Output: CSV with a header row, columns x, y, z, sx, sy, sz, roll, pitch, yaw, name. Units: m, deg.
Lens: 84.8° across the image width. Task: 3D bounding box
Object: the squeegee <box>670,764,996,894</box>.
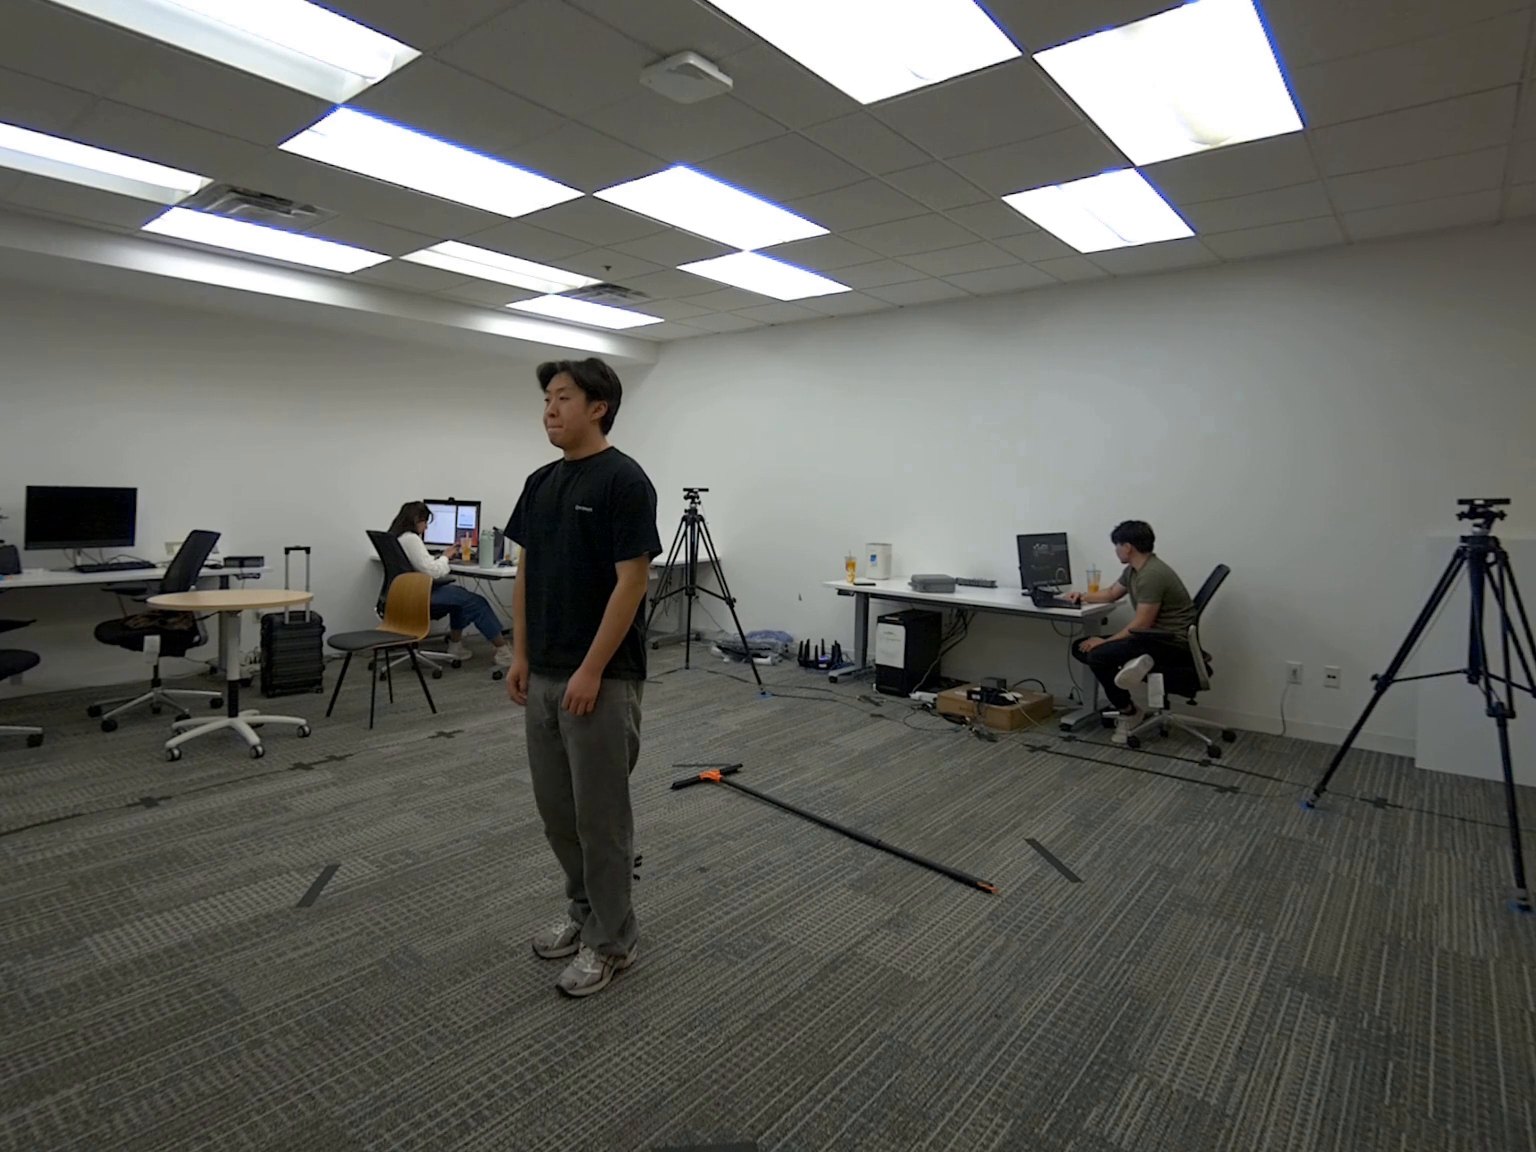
x,y,z,sx,sy,sz,roll,pitch,yaw,name
0.237,0.996,3.521,0.424,0.053,1.591,-5,8,-44,squeegee
